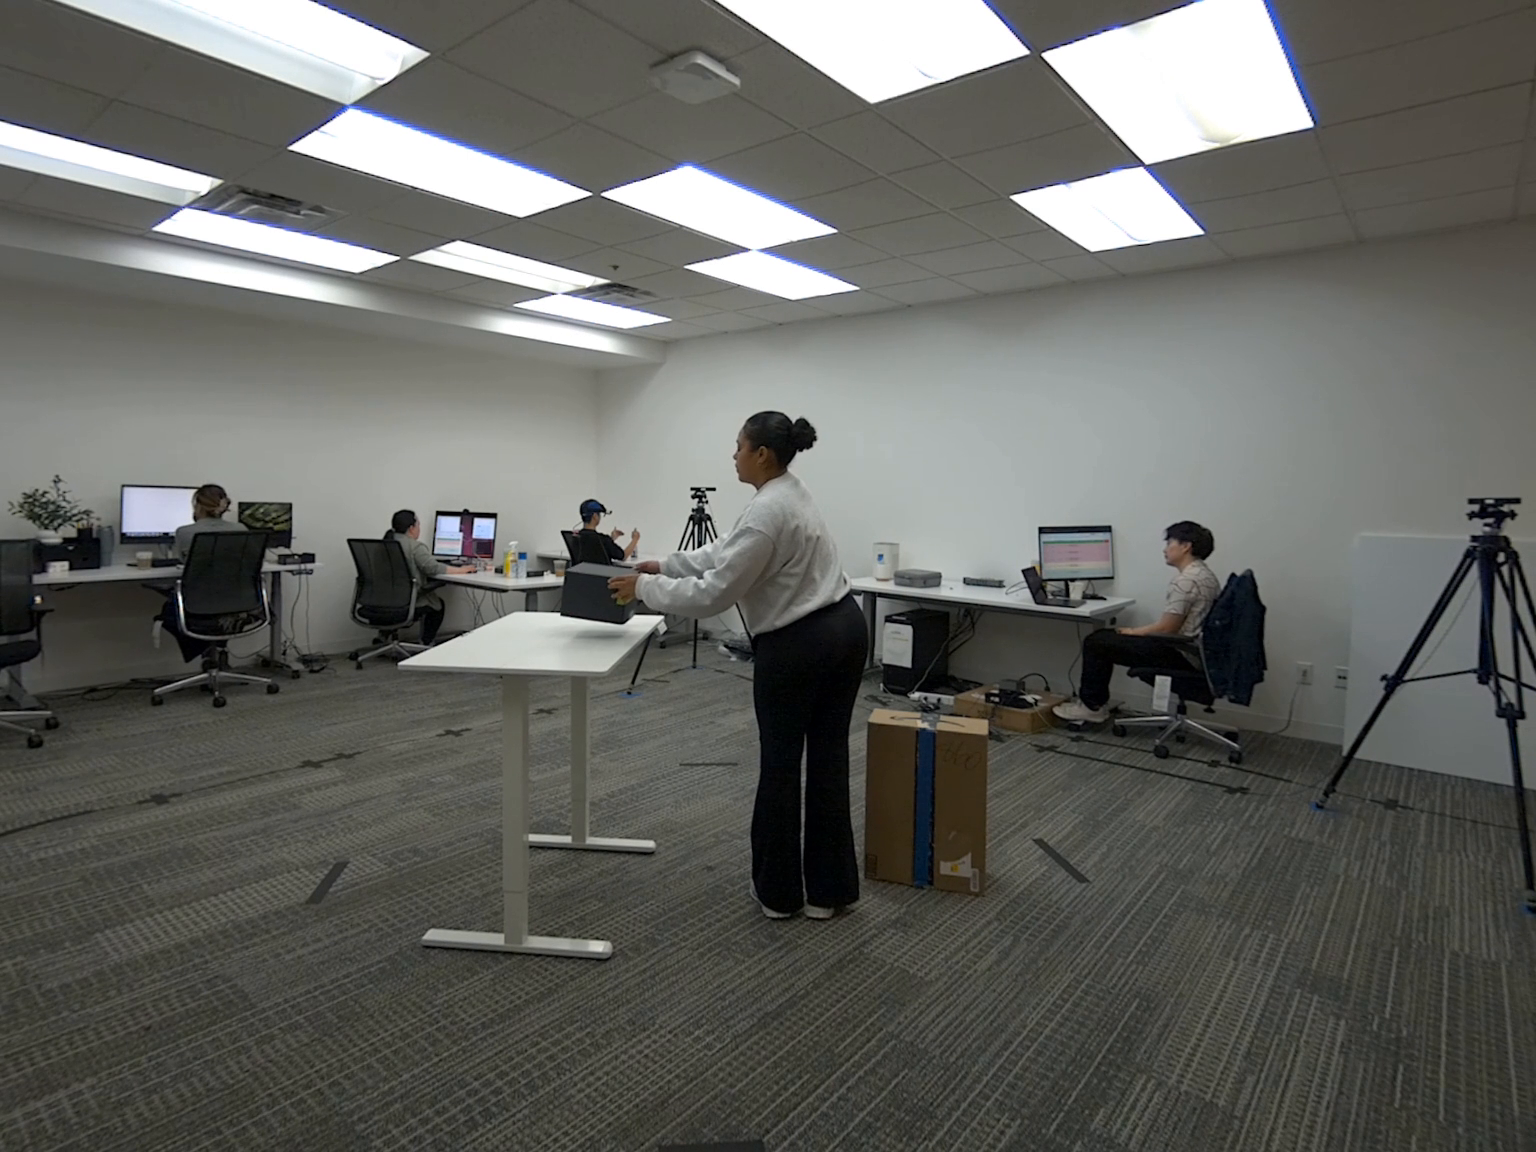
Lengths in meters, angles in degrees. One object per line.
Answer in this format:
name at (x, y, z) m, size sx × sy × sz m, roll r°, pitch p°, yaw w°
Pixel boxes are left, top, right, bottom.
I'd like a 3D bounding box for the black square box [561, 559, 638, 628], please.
black square box at (-0.573, 0.055, 2.912) m, size 0.217 × 0.155 × 0.229 m, roll 10°, pitch 9°, yaw 0°
